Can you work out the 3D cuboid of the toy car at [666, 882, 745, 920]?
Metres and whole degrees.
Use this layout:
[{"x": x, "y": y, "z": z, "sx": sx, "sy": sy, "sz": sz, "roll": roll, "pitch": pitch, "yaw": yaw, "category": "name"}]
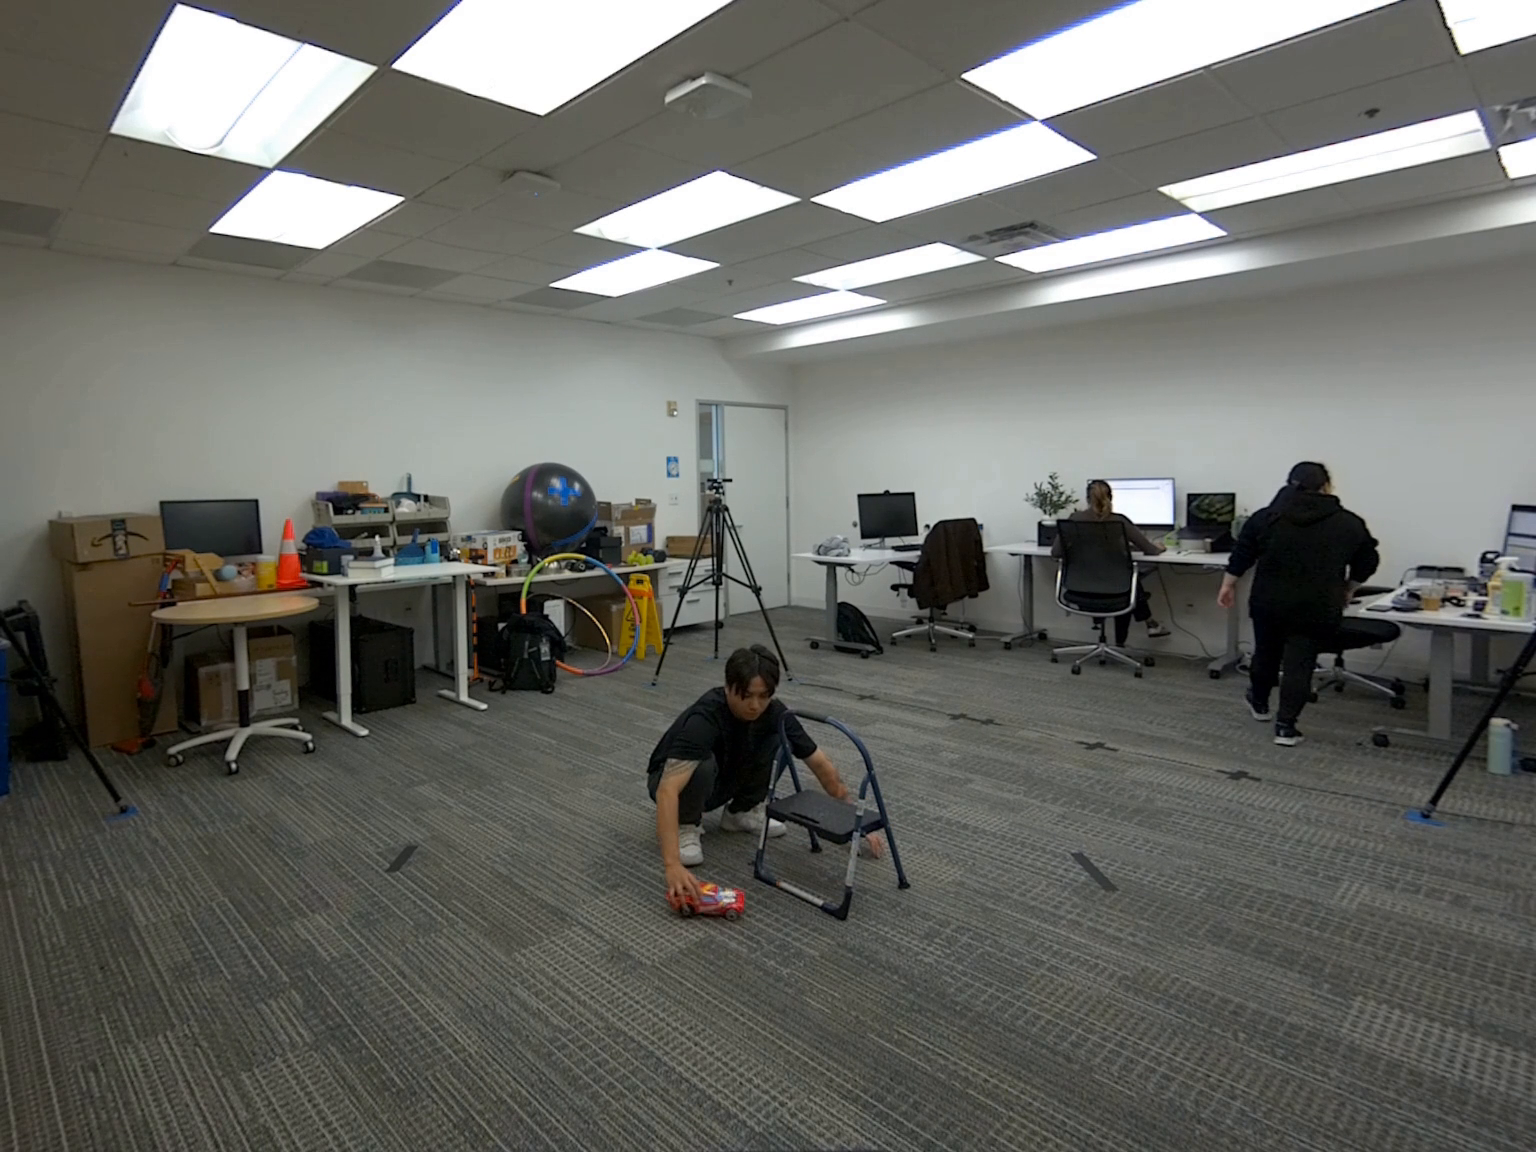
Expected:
[{"x": -0.198, "y": 1.050, "z": 2.775, "sx": 0.256, "sy": 0.083, "sz": 0.130, "roll": 11, "pitch": 10, "yaw": 4, "category": "toy car"}]
